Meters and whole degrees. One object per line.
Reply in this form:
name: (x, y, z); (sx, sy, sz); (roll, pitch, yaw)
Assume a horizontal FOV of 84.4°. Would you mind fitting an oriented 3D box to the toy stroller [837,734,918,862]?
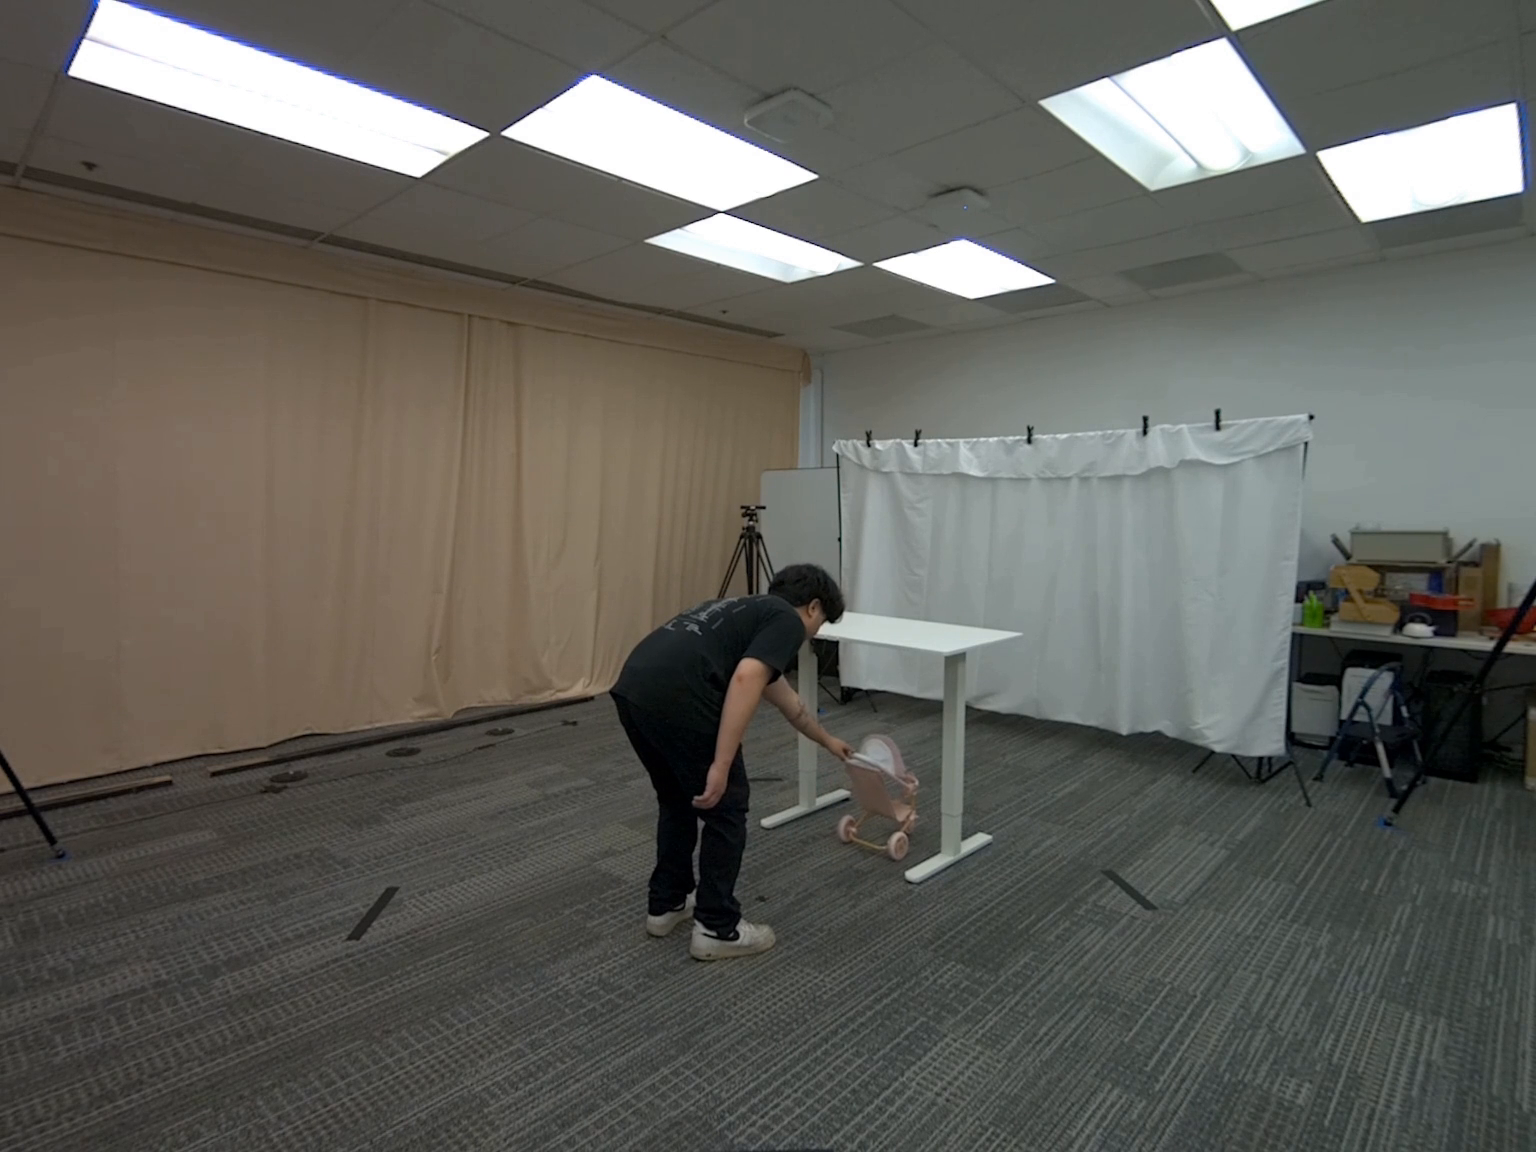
toy stroller: (0.467, 0.880, 3.431); (0.334, 0.529, 0.291); (-23, 18, -40)
